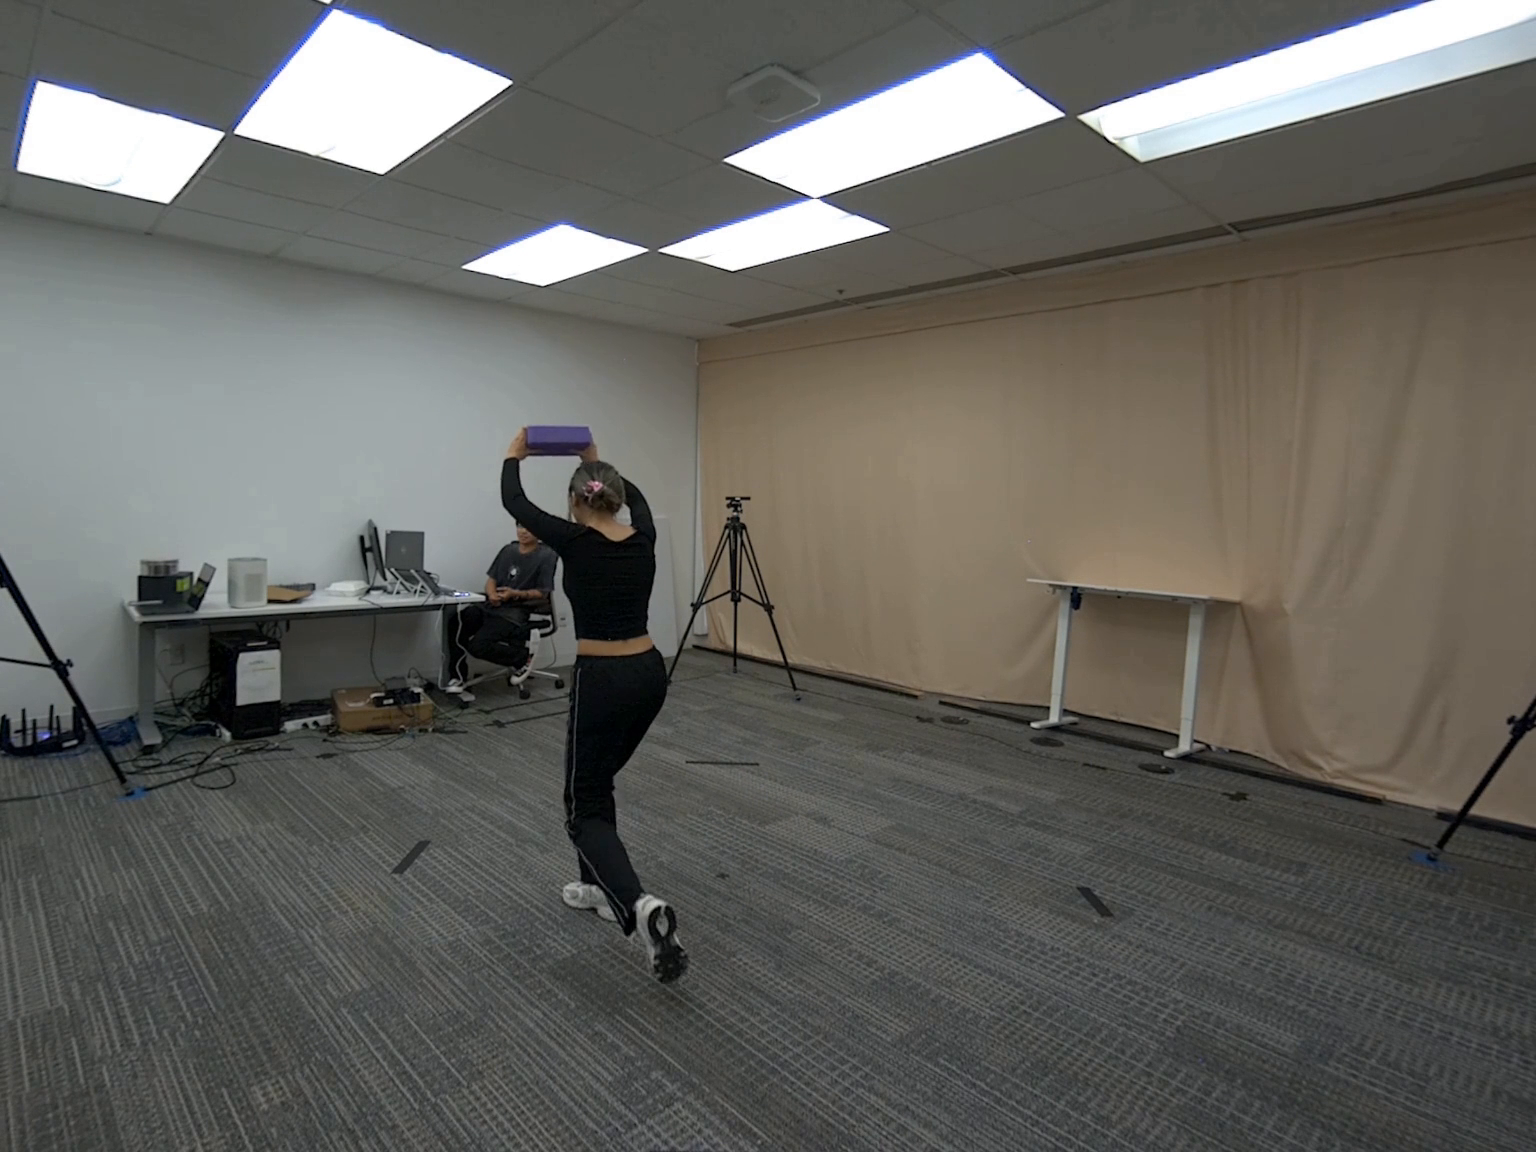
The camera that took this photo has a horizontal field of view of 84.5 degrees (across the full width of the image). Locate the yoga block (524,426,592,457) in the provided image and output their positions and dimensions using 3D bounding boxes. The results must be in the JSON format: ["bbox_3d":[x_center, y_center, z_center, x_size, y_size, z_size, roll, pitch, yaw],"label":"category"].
[{"bbox_3d":[-0.792,-0.497,3.101,0.225,0.077,0.150,-4,-12,-29],"label":"yoga block"}]
